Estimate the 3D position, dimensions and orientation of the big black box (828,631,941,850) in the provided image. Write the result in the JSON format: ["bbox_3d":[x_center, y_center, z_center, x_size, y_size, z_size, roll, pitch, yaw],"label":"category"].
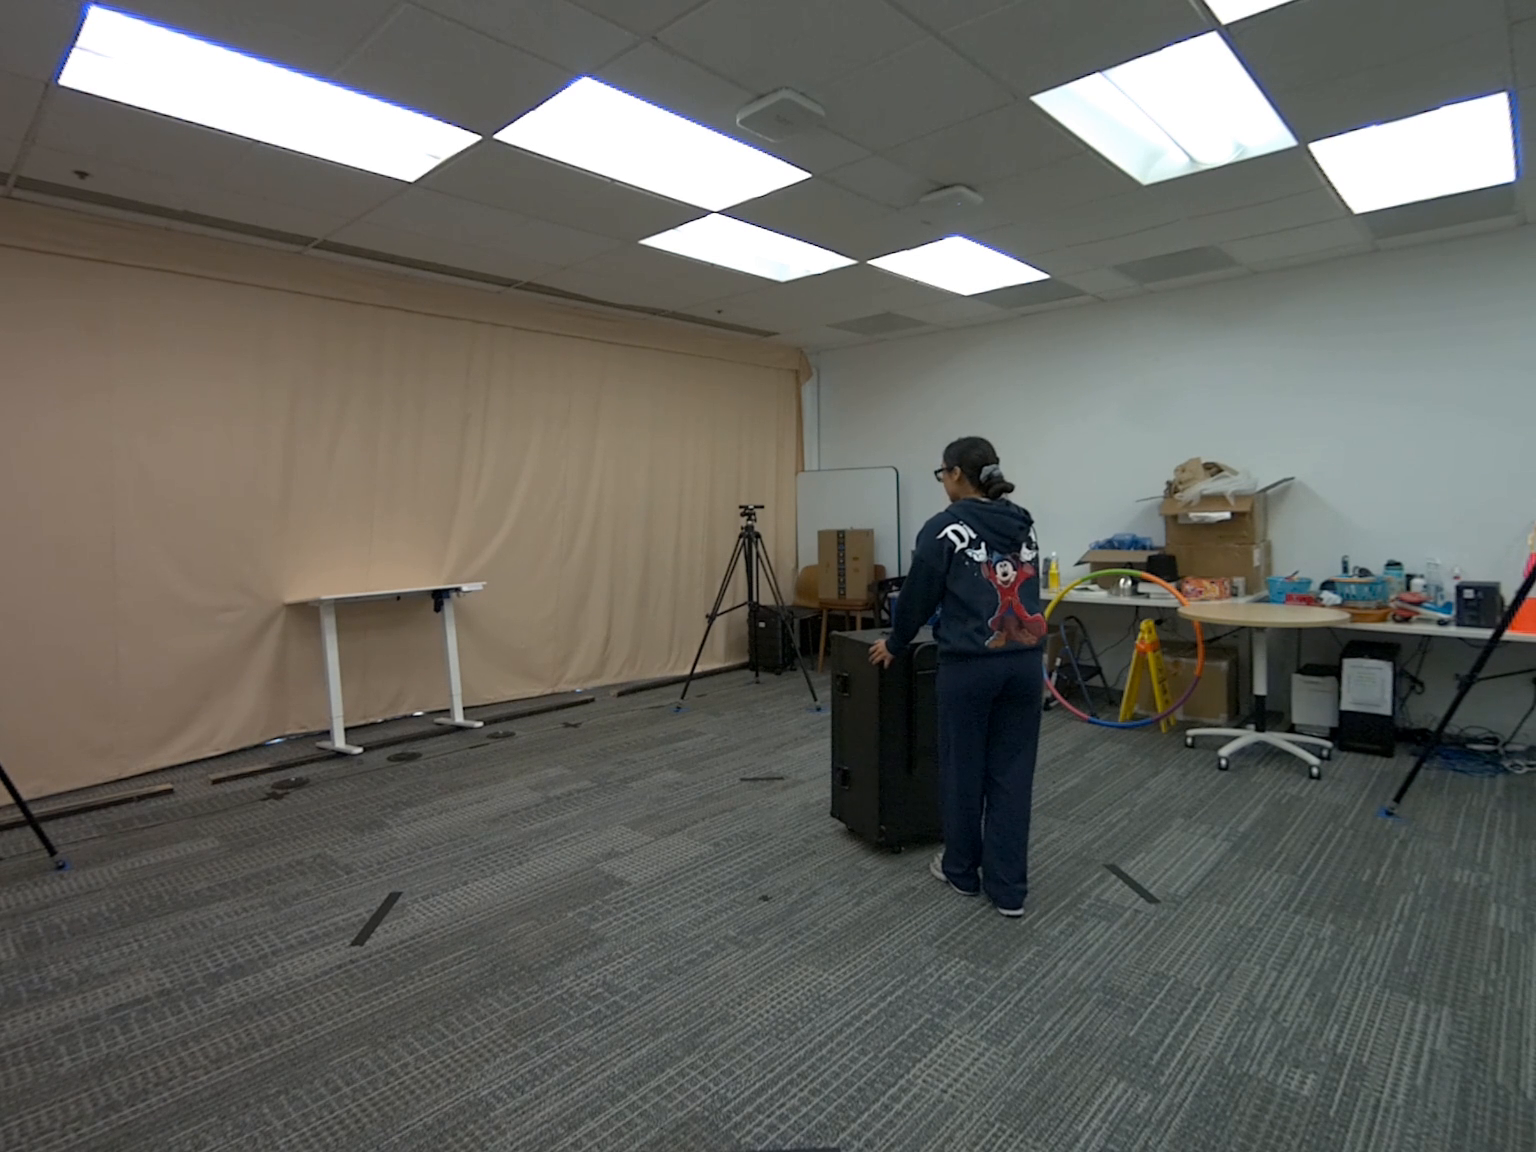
[{"bbox_3d":[0.571,0.664,3.477,0.509,0.859,0.407,-1,5,-25],"label":"big black box"}]
